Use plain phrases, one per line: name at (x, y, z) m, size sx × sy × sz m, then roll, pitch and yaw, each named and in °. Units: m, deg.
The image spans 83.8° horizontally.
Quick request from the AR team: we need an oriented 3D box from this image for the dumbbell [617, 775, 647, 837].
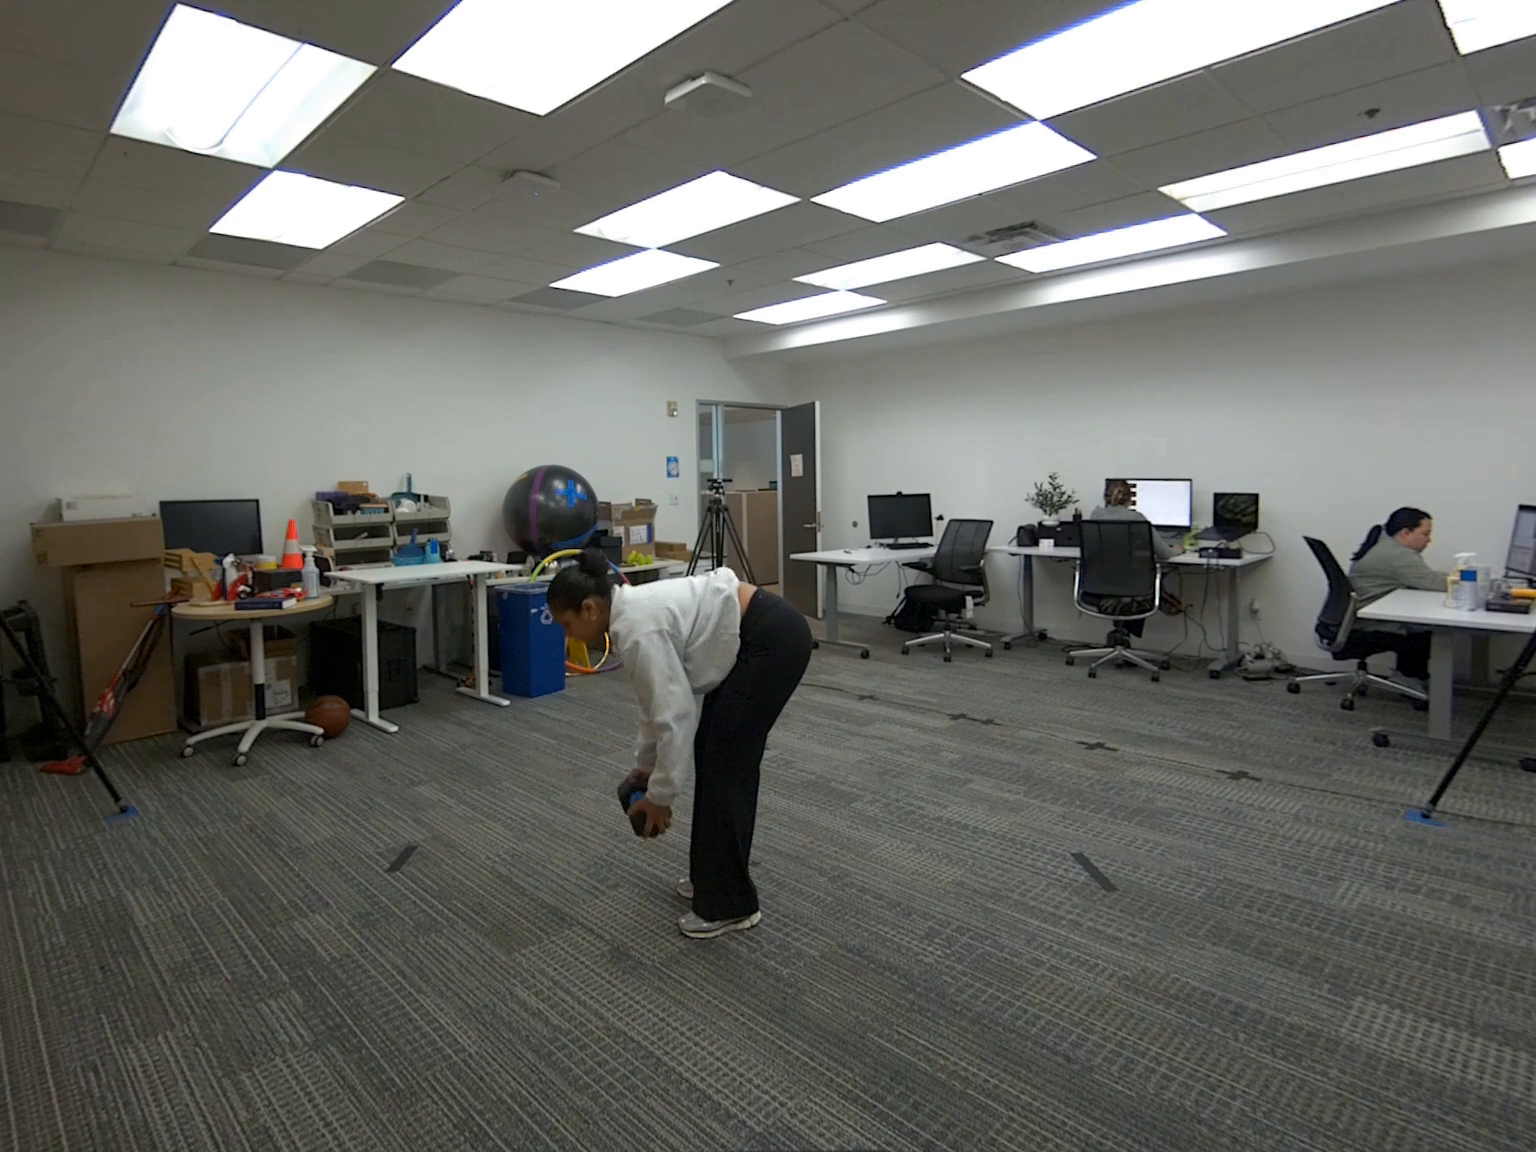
dumbbell at (-0.409, 0.724, 2.724) m, size 0.107 × 0.123 × 0.299 m, roll 41°, pitch -8°, yaw -15°
